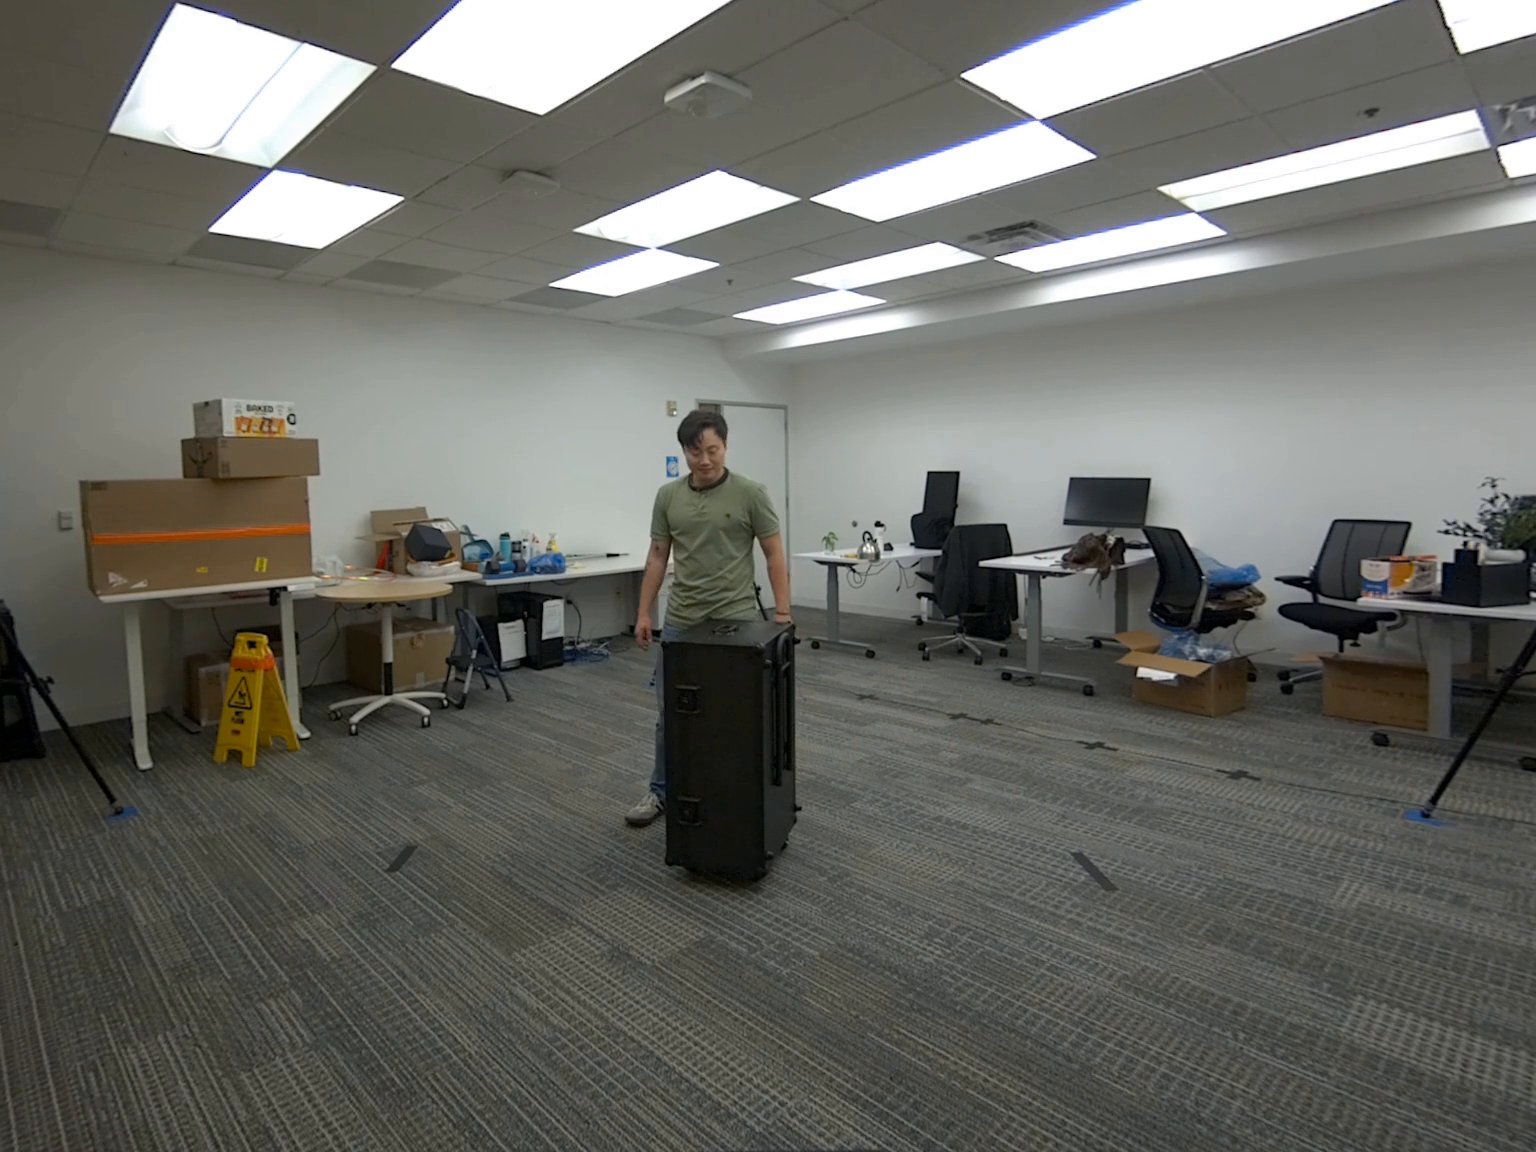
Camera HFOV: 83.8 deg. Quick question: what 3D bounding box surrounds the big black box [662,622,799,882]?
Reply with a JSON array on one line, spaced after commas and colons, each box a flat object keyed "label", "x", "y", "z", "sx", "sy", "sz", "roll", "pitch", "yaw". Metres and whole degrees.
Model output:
[{"label": "big black box", "x": -0.107, "y": 0.626, "z": 3.097, "sx": 0.403, "sy": 0.858, "sz": 0.515, "roll": 1, "pitch": 5, "yaw": 16}]
